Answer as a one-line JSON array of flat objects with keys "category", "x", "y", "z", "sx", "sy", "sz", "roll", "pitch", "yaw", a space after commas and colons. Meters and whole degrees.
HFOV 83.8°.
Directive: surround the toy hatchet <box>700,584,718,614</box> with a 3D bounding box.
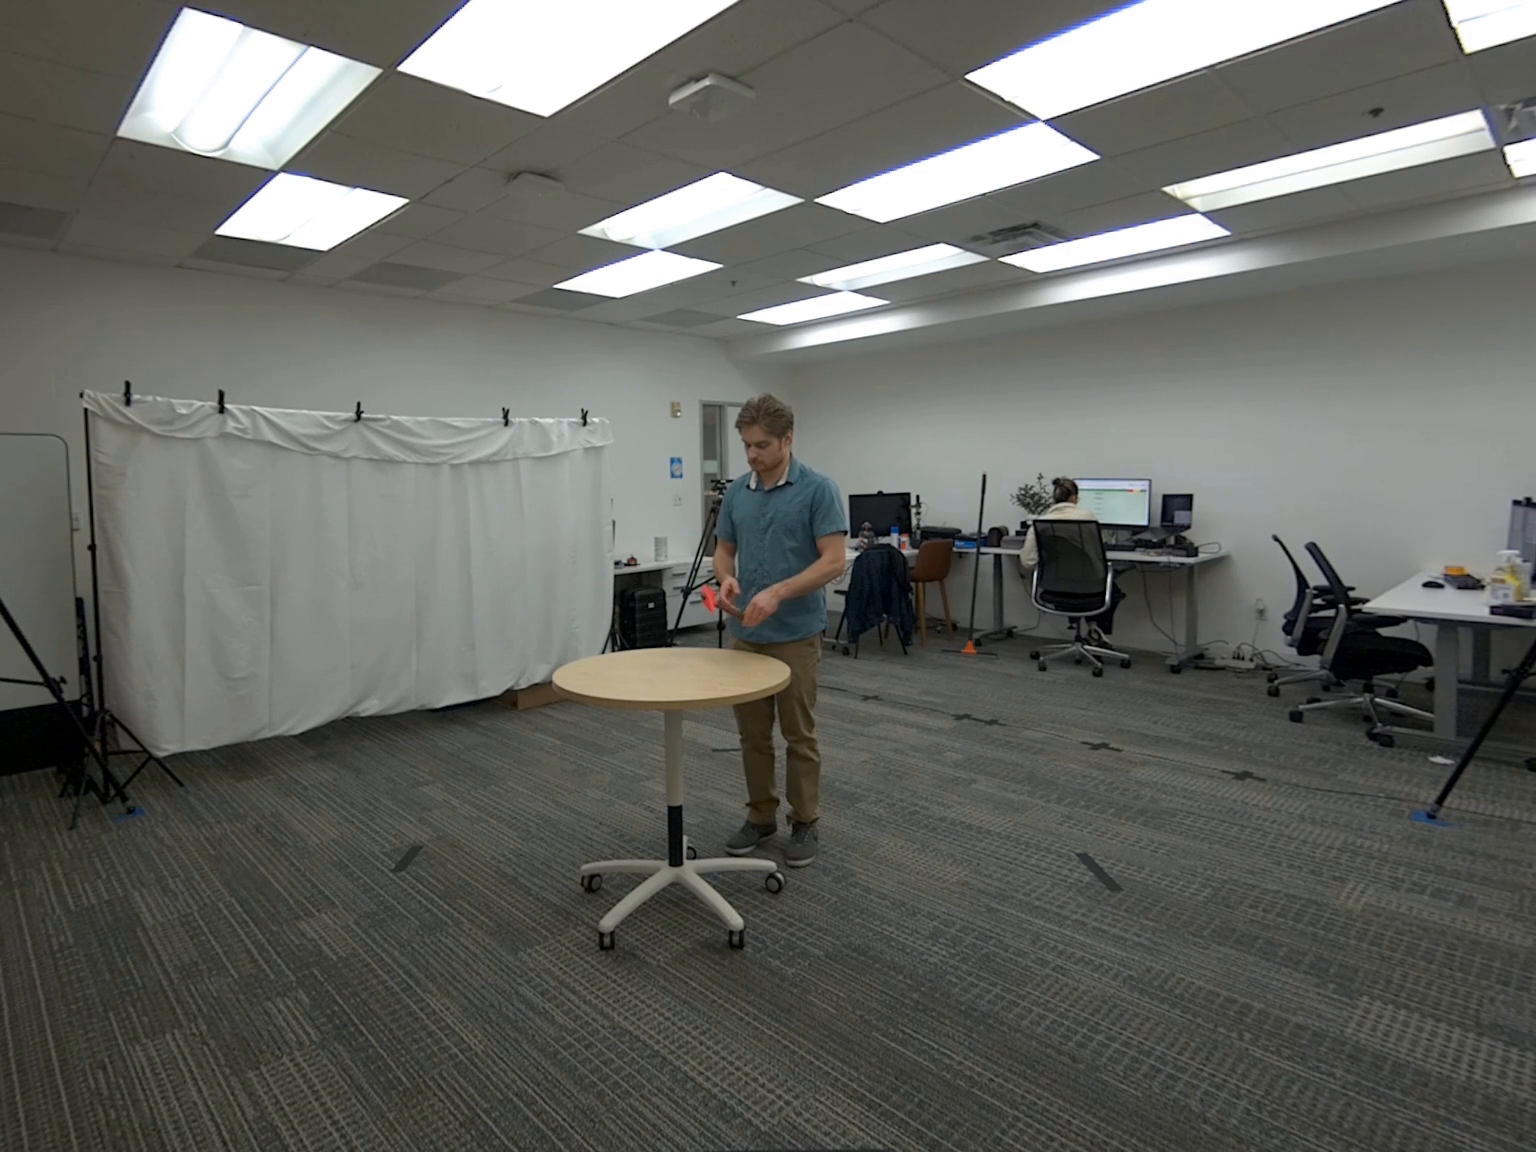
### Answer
[{"category": "toy hatchet", "x": -0.142, "y": 0.098, "z": 2.895, "sx": 0.029, "sy": 0.135, "sz": 0.261, "roll": -45, "pitch": -32, "yaw": 18}]
